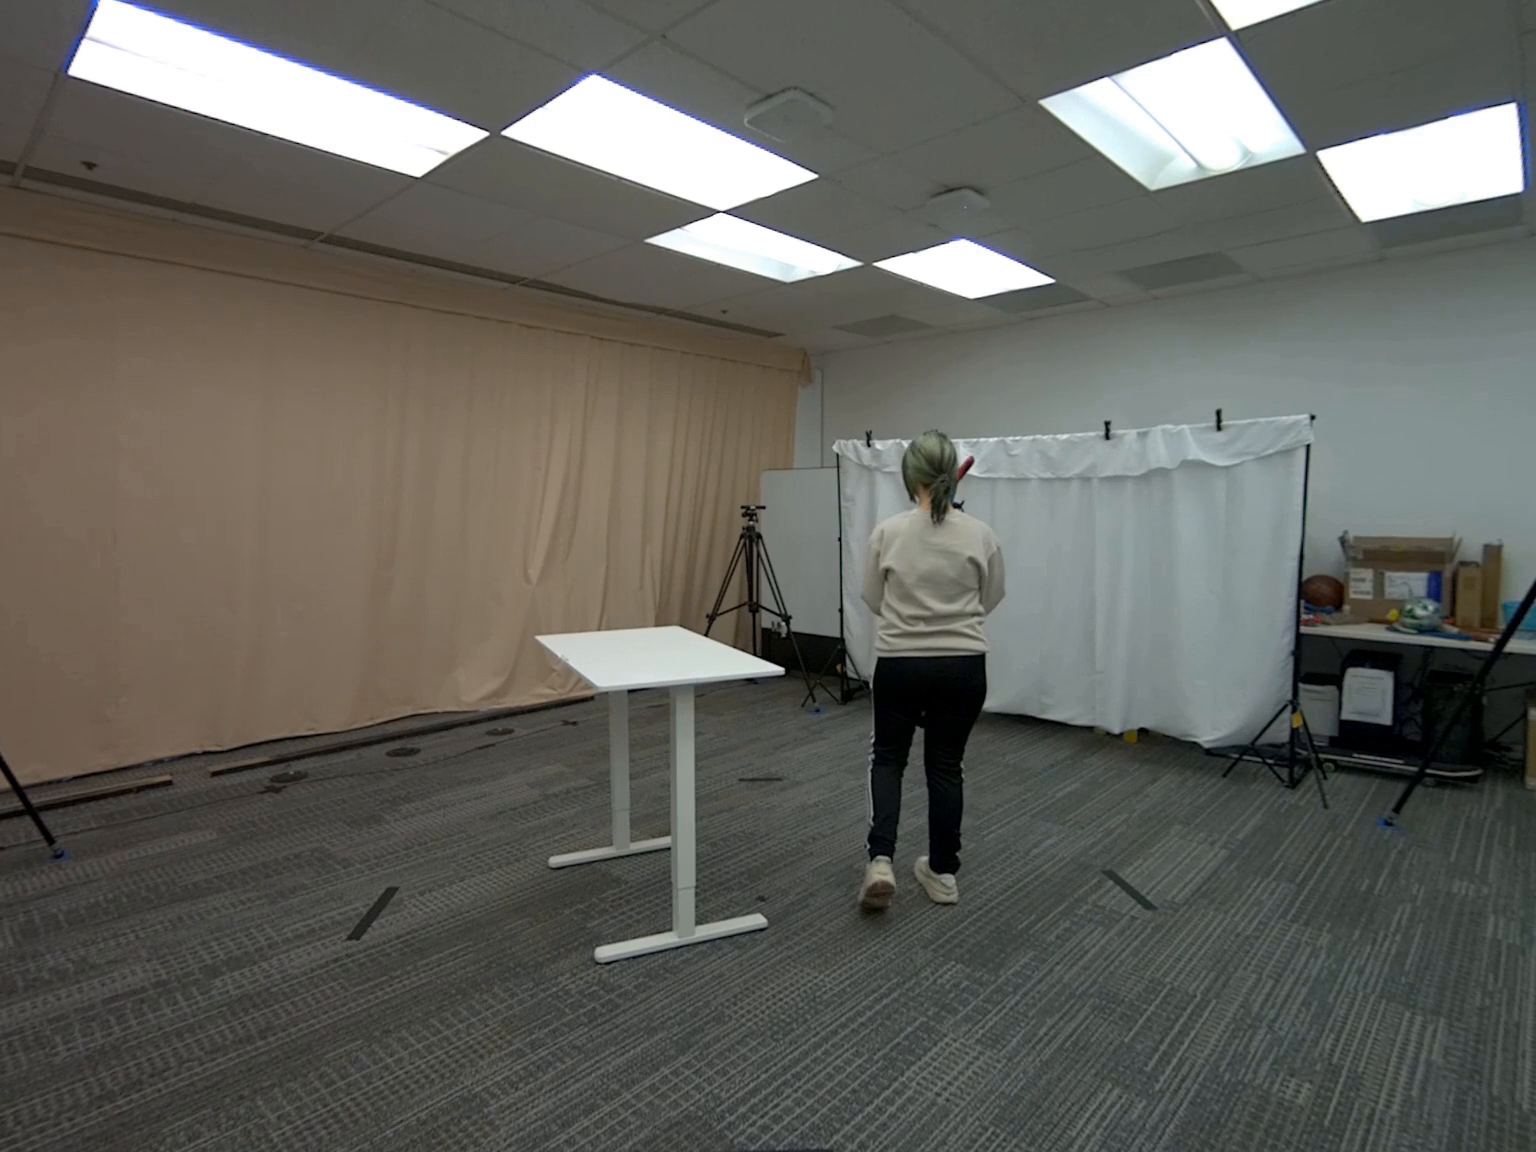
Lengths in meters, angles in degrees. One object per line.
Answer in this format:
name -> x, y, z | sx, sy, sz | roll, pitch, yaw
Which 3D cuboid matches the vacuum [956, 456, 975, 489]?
vacuum -> 0.663, 0.071, 3.197 | 0.145, 1.045, 0.252 | 13, 10, 3
